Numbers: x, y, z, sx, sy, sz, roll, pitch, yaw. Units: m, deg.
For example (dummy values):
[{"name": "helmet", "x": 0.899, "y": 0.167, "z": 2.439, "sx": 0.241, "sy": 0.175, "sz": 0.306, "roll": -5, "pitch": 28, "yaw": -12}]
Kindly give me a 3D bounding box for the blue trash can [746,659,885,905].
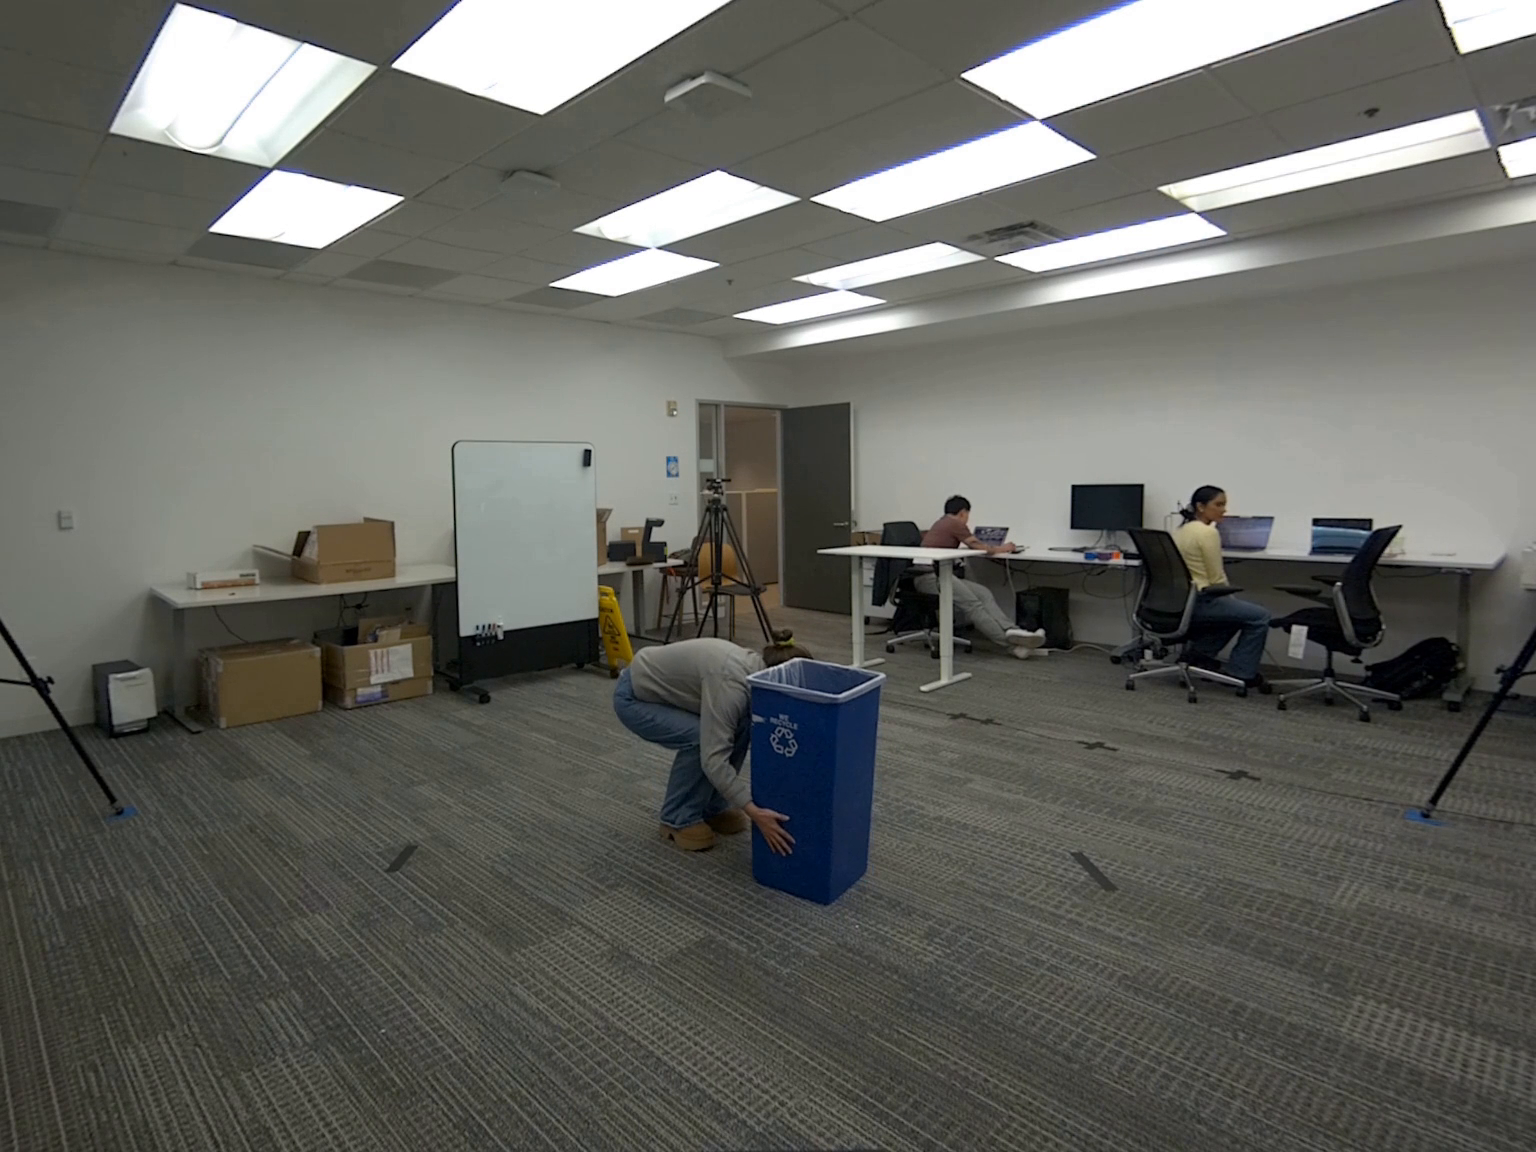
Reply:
[{"name": "blue trash can", "x": 0.165, "y": 0.691, "z": 2.954, "sx": 0.385, "sy": 0.710, "sz": 0.369, "roll": 4, "pitch": 7, "yaw": 34}]
